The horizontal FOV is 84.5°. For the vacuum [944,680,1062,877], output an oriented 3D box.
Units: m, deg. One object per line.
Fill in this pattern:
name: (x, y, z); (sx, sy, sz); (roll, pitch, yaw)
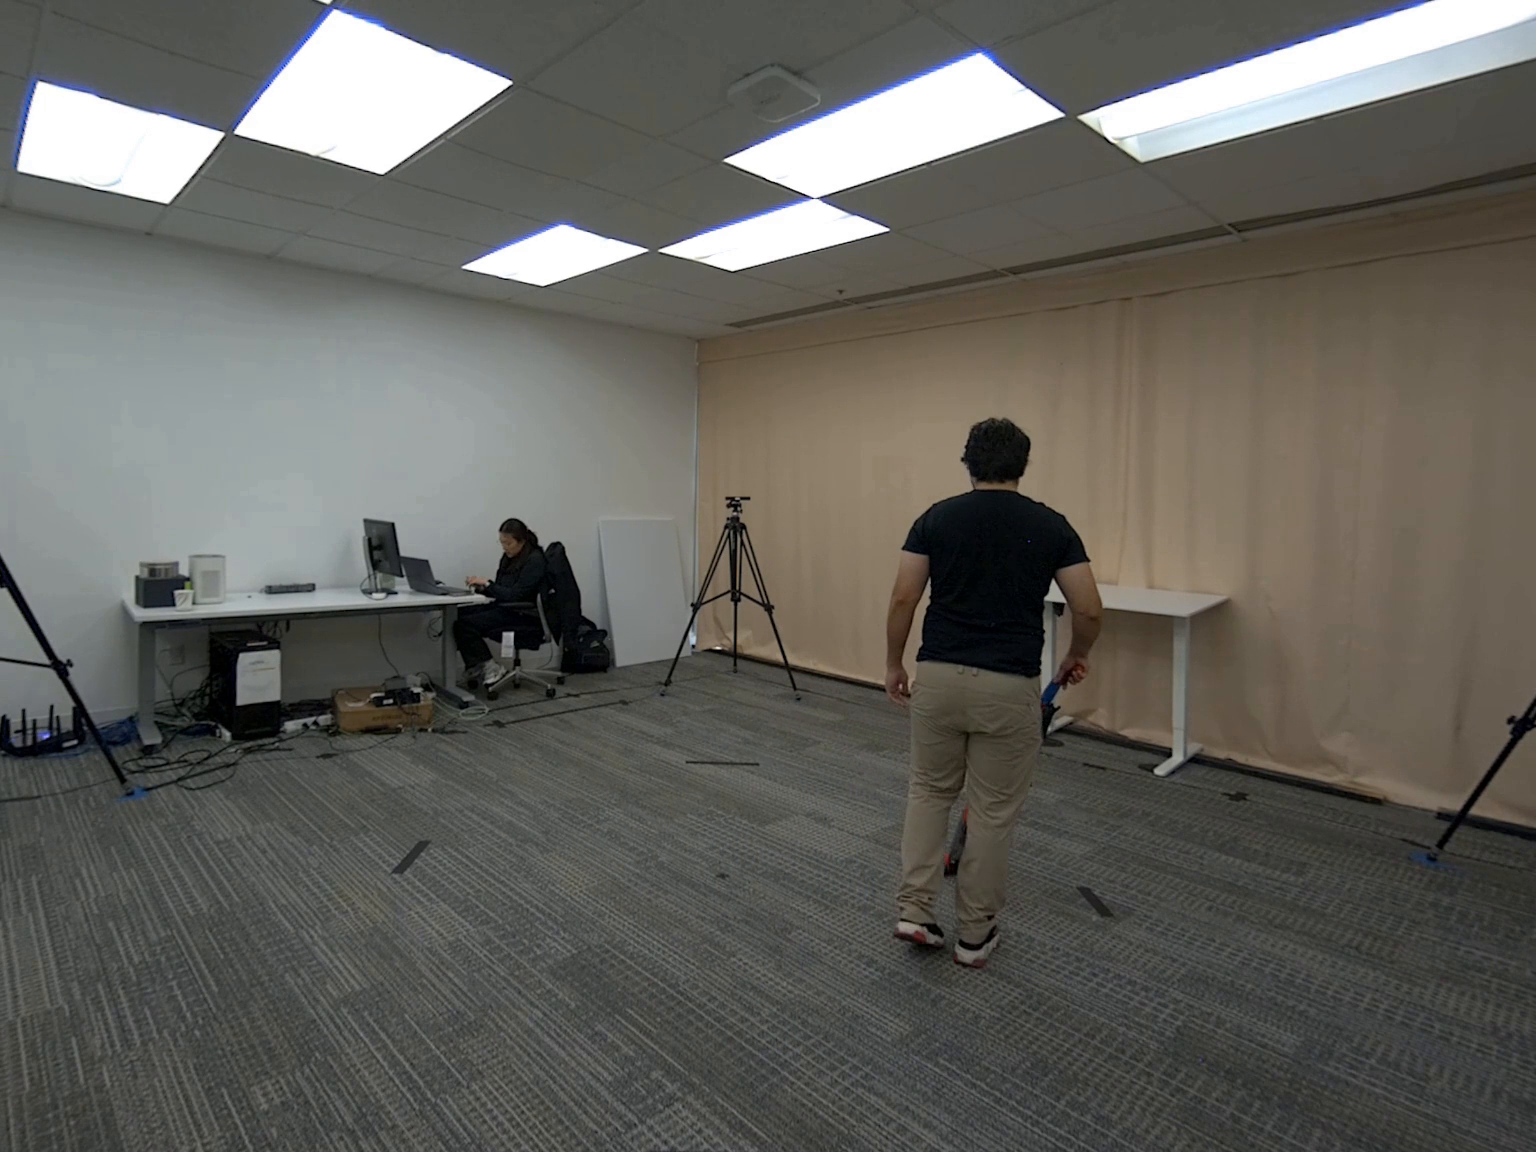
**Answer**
vacuum: (0.817, 0.714, 2.946); (0.248, 1.037, 0.148); (1, 39, -26)
